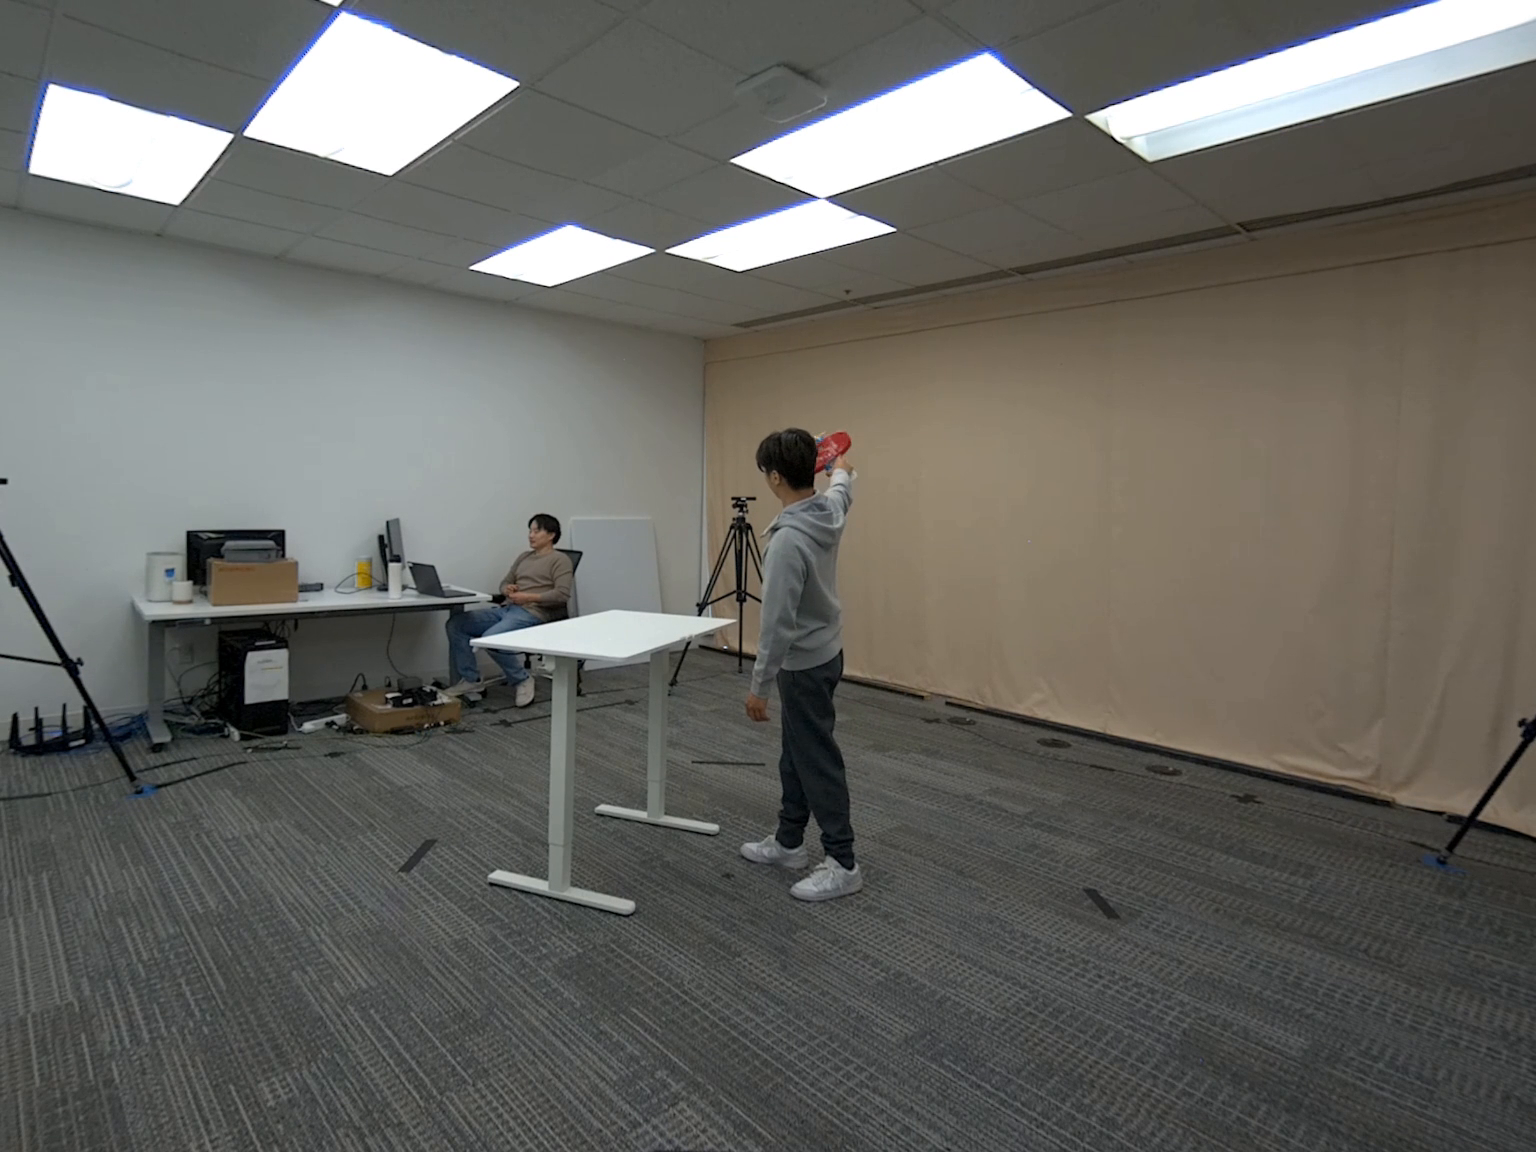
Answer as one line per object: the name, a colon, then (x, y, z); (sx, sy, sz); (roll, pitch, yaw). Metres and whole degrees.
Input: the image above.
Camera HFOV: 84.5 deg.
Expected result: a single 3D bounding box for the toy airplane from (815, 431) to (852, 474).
toy airplane: (0.279, -0.513, 3.731); (0.265, 0.251, 0.152); (26, -9, 22)
